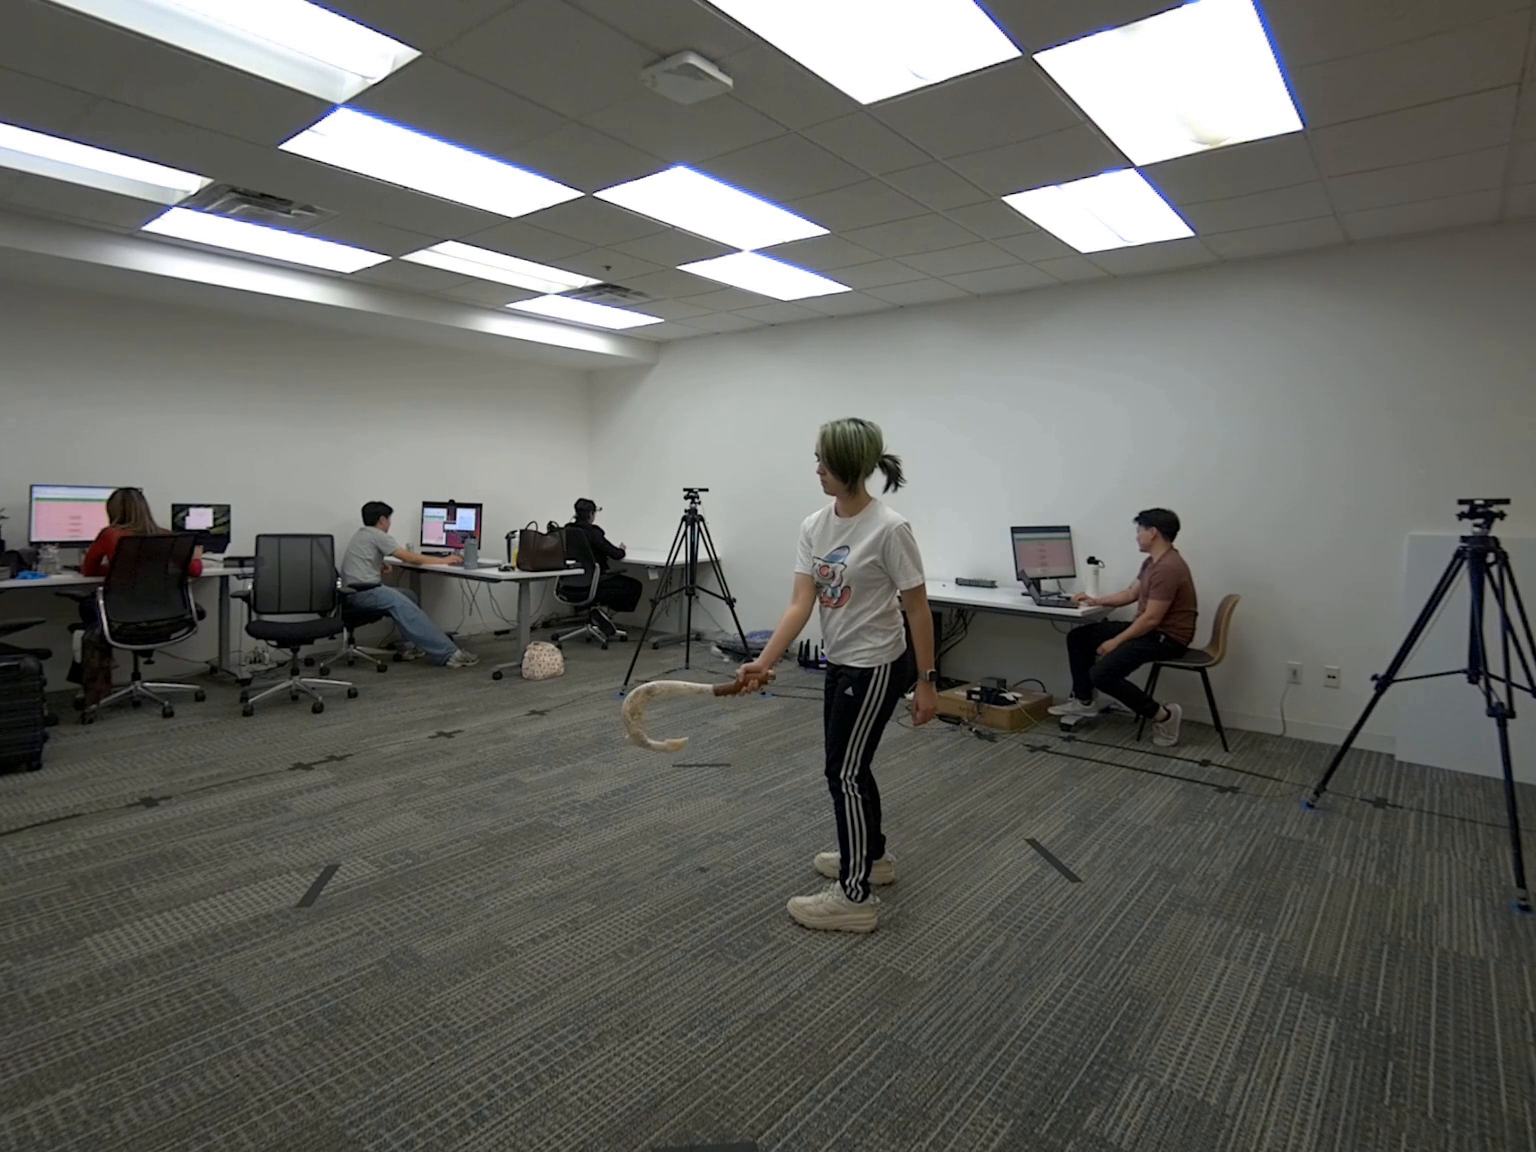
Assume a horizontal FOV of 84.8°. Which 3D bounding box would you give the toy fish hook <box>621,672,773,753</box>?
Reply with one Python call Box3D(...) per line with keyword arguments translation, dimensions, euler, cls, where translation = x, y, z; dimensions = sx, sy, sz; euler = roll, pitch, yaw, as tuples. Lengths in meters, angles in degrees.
Box3D(translation=(-0.227, 0.402, 2.688), dimensions=(0.508, 0.226, 0.048), euler=(-11, -6, 5), cls="toy fish hook")
